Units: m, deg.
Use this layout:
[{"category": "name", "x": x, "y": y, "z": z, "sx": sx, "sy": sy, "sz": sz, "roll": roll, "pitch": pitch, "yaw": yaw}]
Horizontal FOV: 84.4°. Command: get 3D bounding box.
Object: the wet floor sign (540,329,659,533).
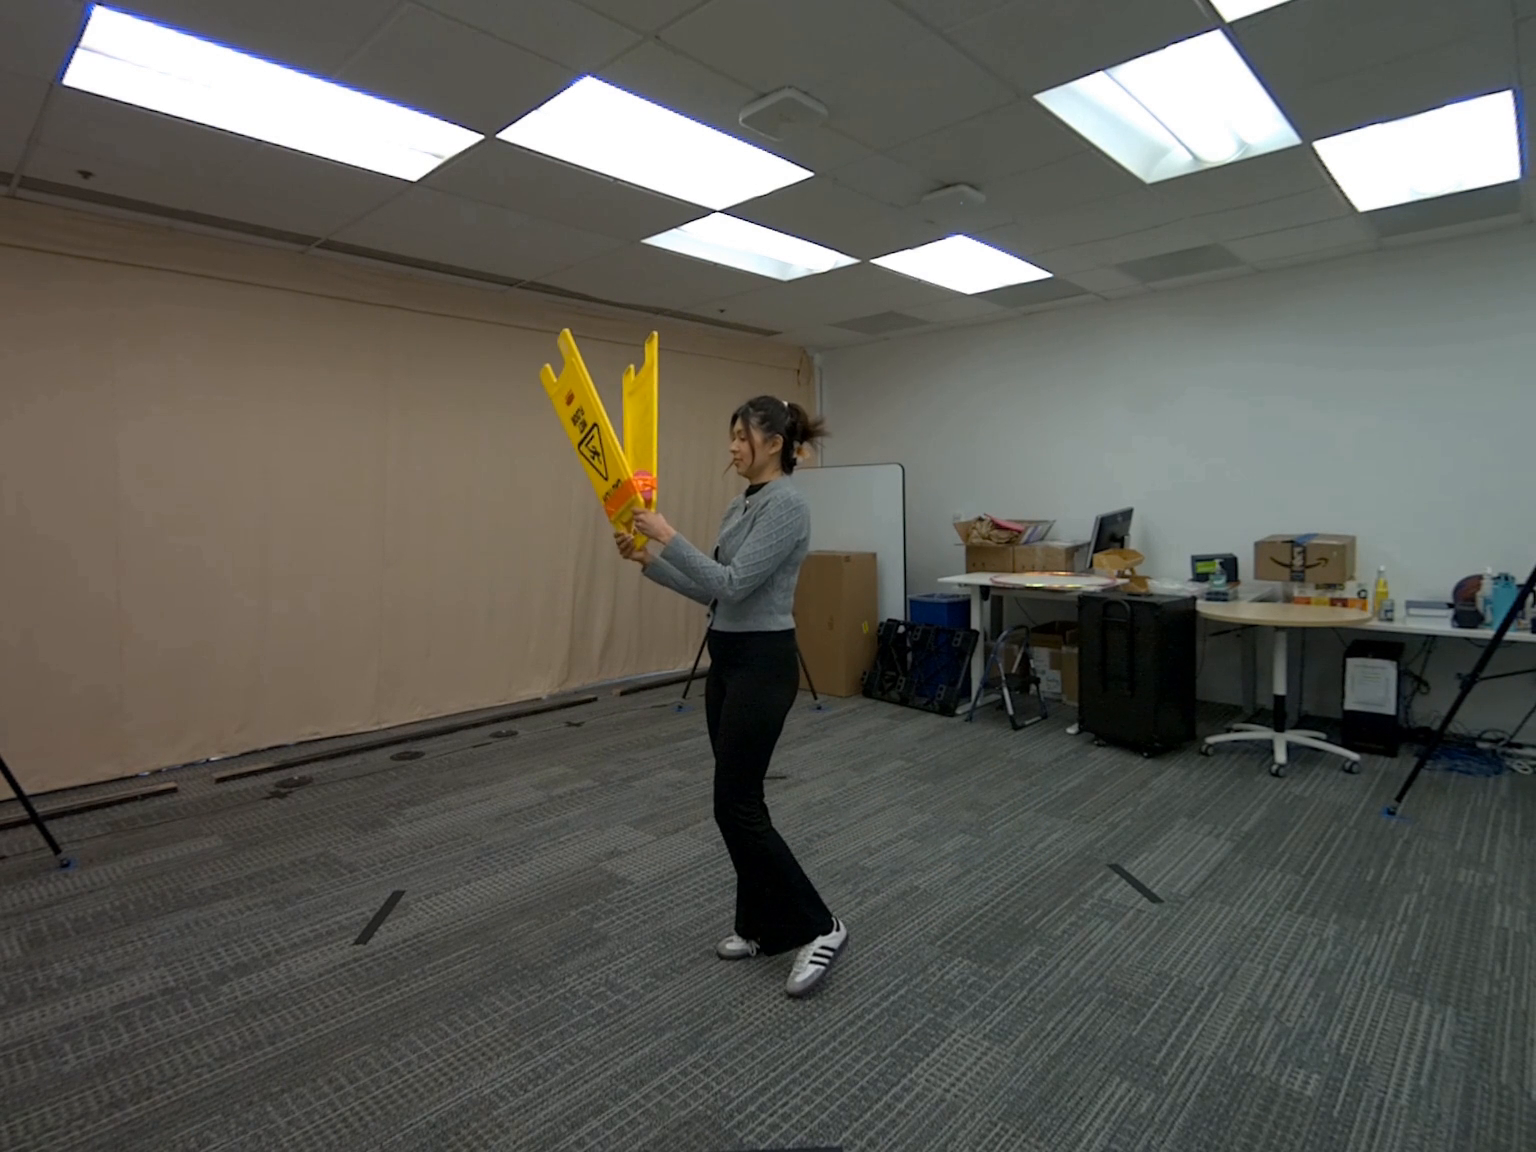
[{"category": "wet floor sign", "x": -0.459, "y": -0.394, "z": 2.571, "sx": 0.282, "sy": 0.655, "sz": 0.286, "roll": -6, "pitch": -17, "yaw": -30}]
